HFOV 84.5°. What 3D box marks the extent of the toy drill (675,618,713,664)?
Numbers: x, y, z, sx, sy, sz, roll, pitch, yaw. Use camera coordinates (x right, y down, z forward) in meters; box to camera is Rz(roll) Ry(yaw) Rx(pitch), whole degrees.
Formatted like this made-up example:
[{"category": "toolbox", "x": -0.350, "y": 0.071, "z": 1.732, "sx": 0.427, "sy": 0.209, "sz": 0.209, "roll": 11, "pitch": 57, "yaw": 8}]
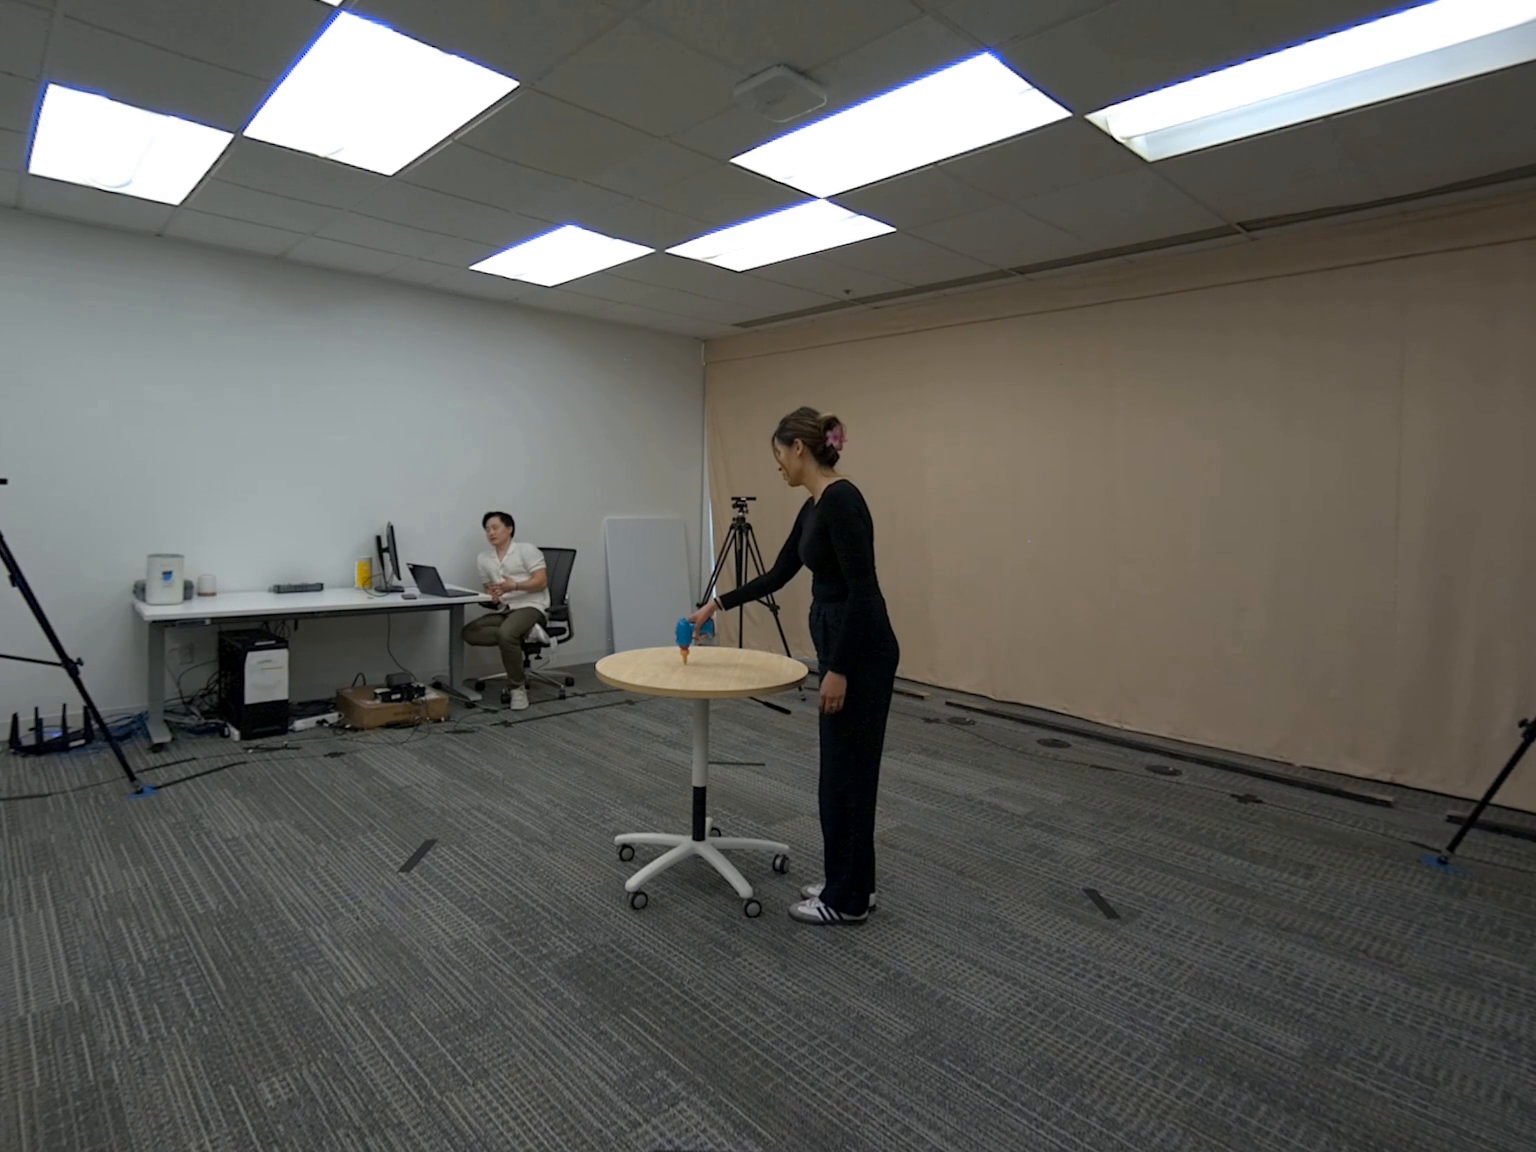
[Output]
[{"category": "toy drill", "x": -0.280, "y": 0.233, "z": 3.067, "sx": 0.144, "sy": 0.170, "sz": 0.061, "roll": -1, "pitch": -4, "yaw": -14}]
